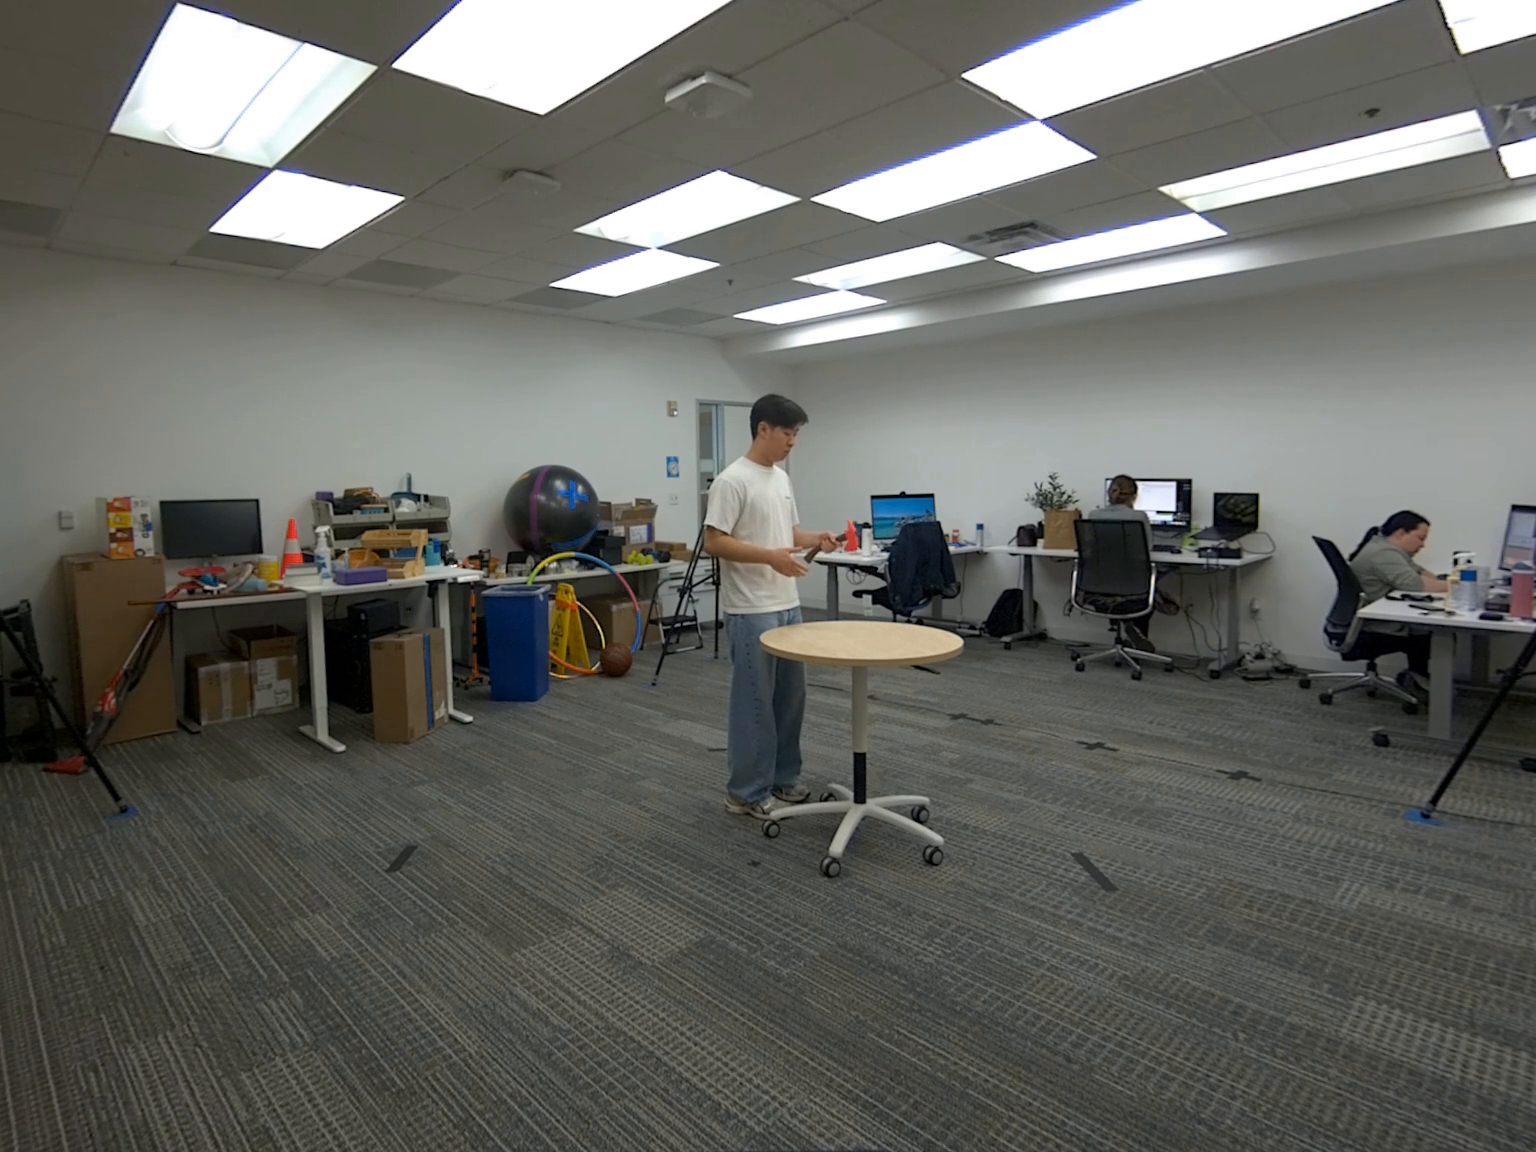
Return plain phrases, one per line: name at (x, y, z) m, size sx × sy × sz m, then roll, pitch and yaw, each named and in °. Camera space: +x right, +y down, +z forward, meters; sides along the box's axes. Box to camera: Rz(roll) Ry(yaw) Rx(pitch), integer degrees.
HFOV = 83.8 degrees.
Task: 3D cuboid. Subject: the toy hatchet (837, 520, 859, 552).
toy hatchet at (0.272, -0.108, 3.568) m, size 0.271 × 0.134 × 0.029 m, roll -41°, pitch -21°, yaw 25°
